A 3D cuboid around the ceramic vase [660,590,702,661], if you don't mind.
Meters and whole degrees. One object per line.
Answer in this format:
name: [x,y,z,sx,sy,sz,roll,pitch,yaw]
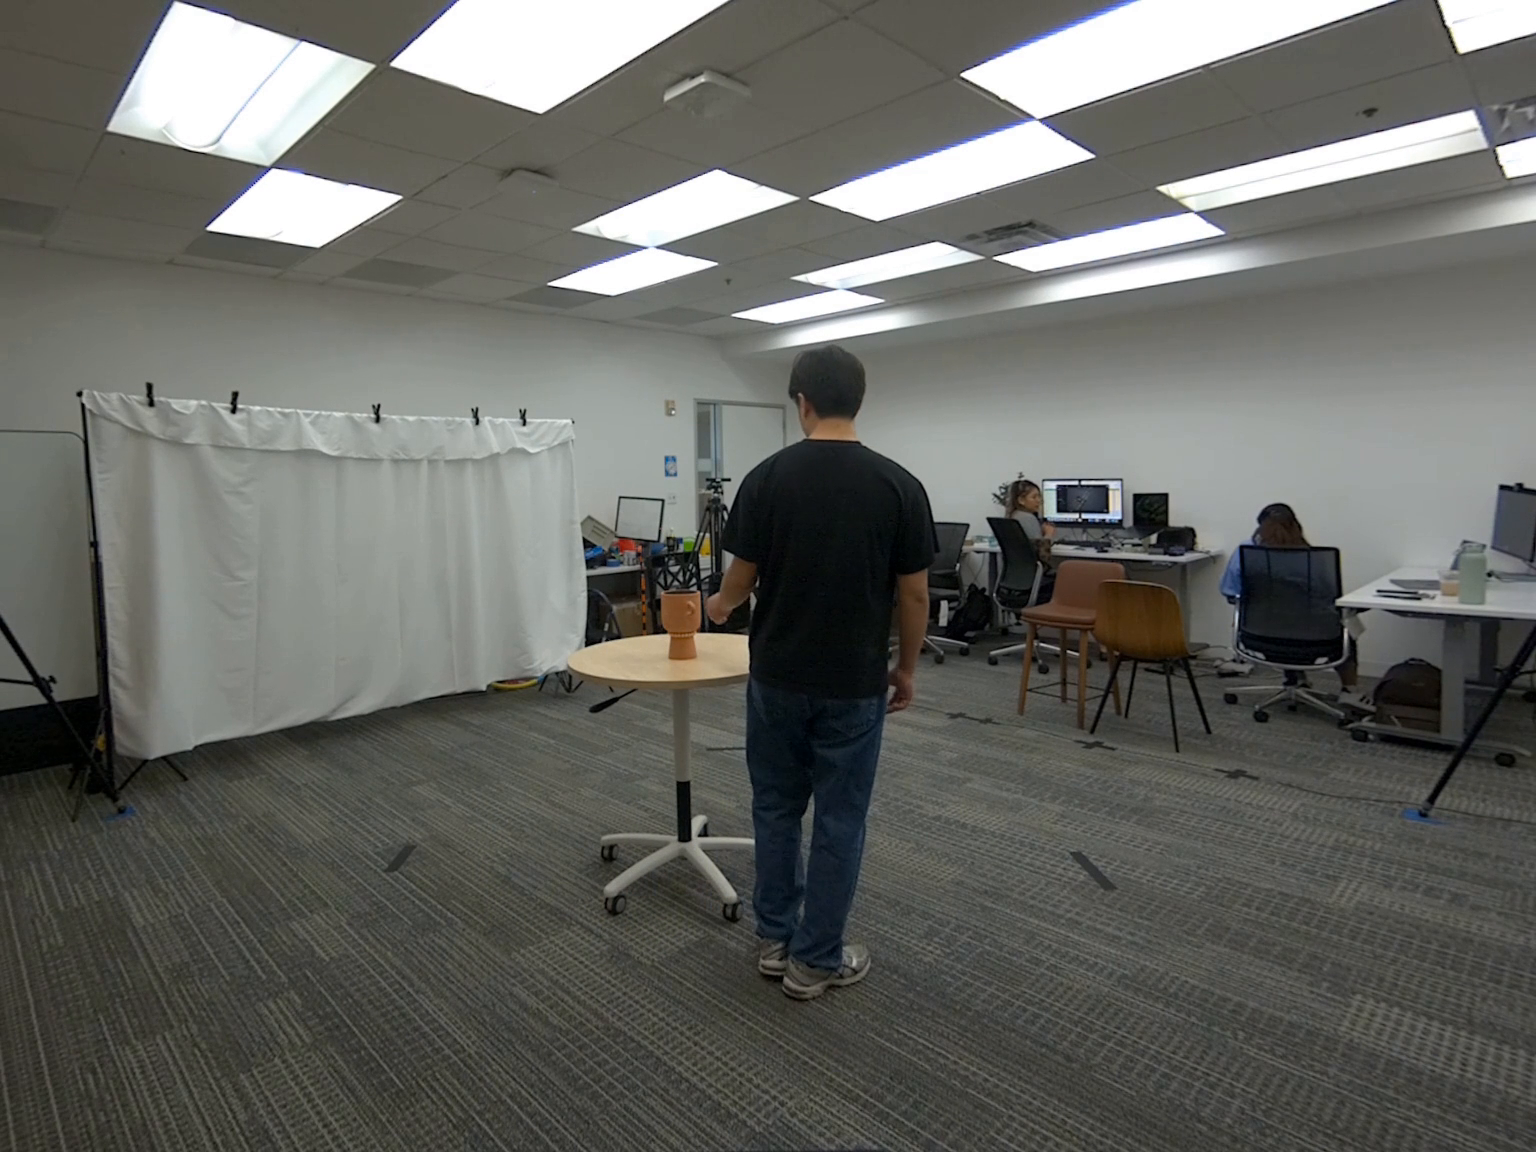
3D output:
ceramic vase: [-0.285,0.167,2.882,0.136,0.219,0.158,1,6,10]
